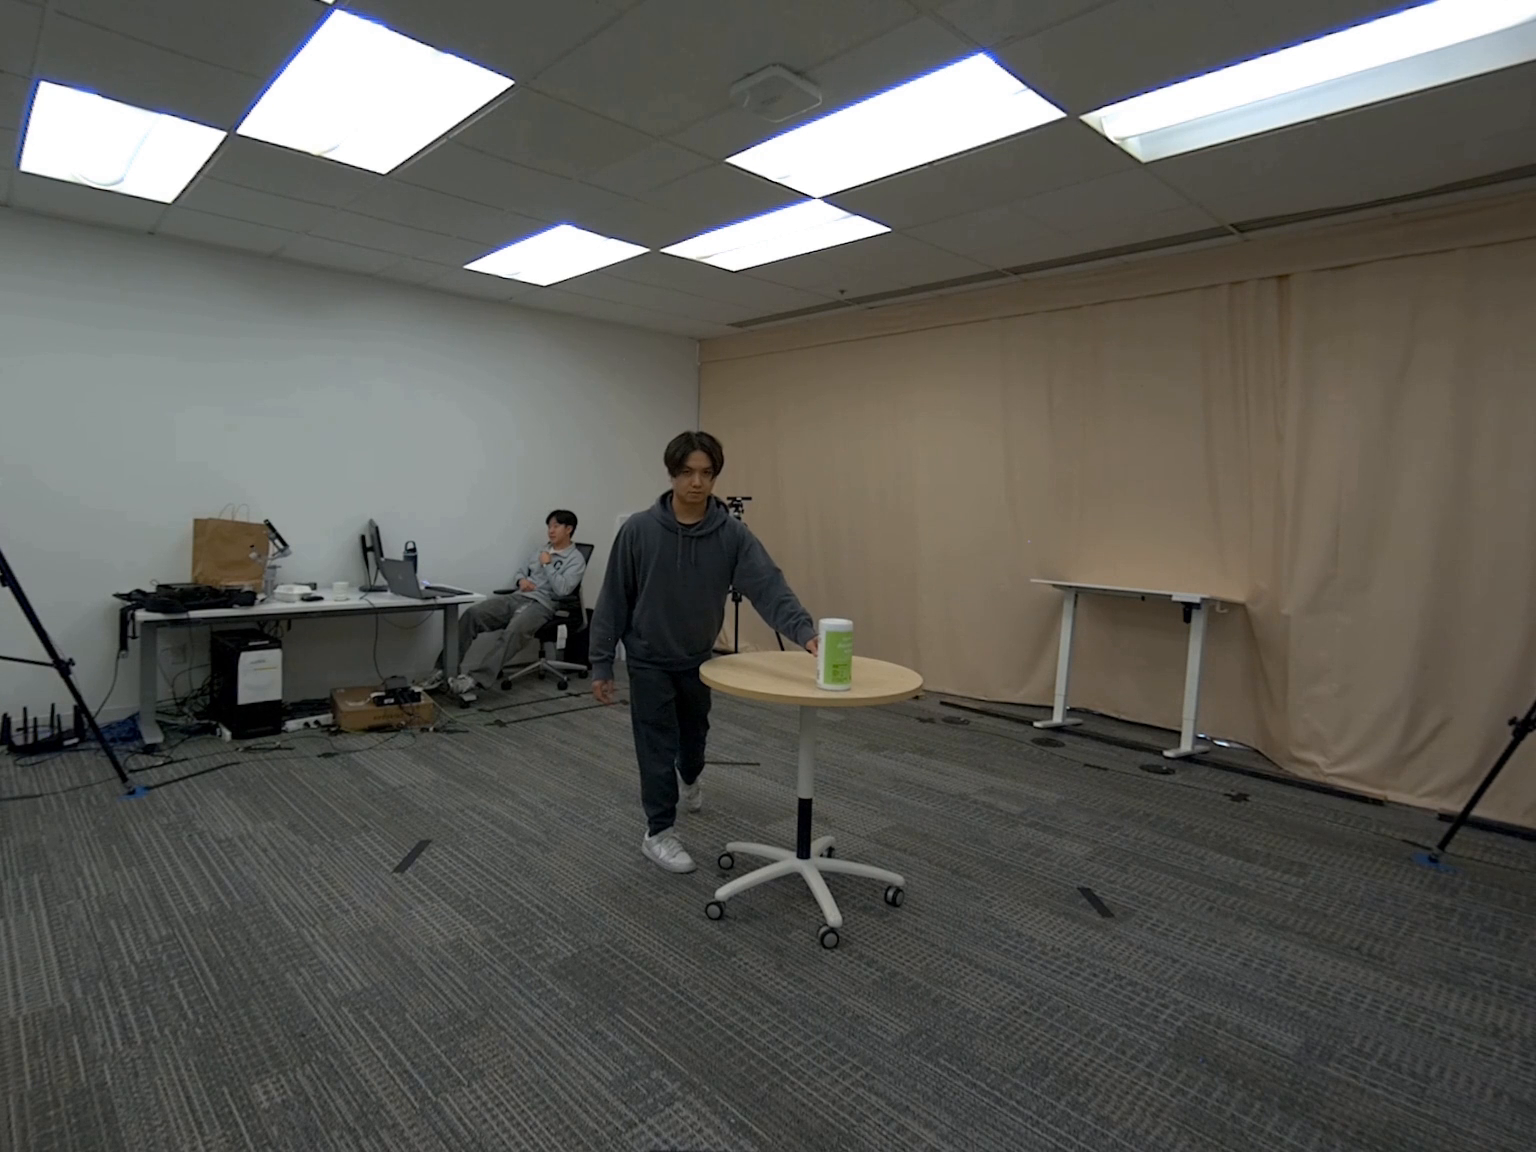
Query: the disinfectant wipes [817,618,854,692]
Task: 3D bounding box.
[{"bbox_3d":[0.205,0.250,2.672,0.118,0.217,0.118,4,4,-2],"label":"disinfectant wipes"}]
